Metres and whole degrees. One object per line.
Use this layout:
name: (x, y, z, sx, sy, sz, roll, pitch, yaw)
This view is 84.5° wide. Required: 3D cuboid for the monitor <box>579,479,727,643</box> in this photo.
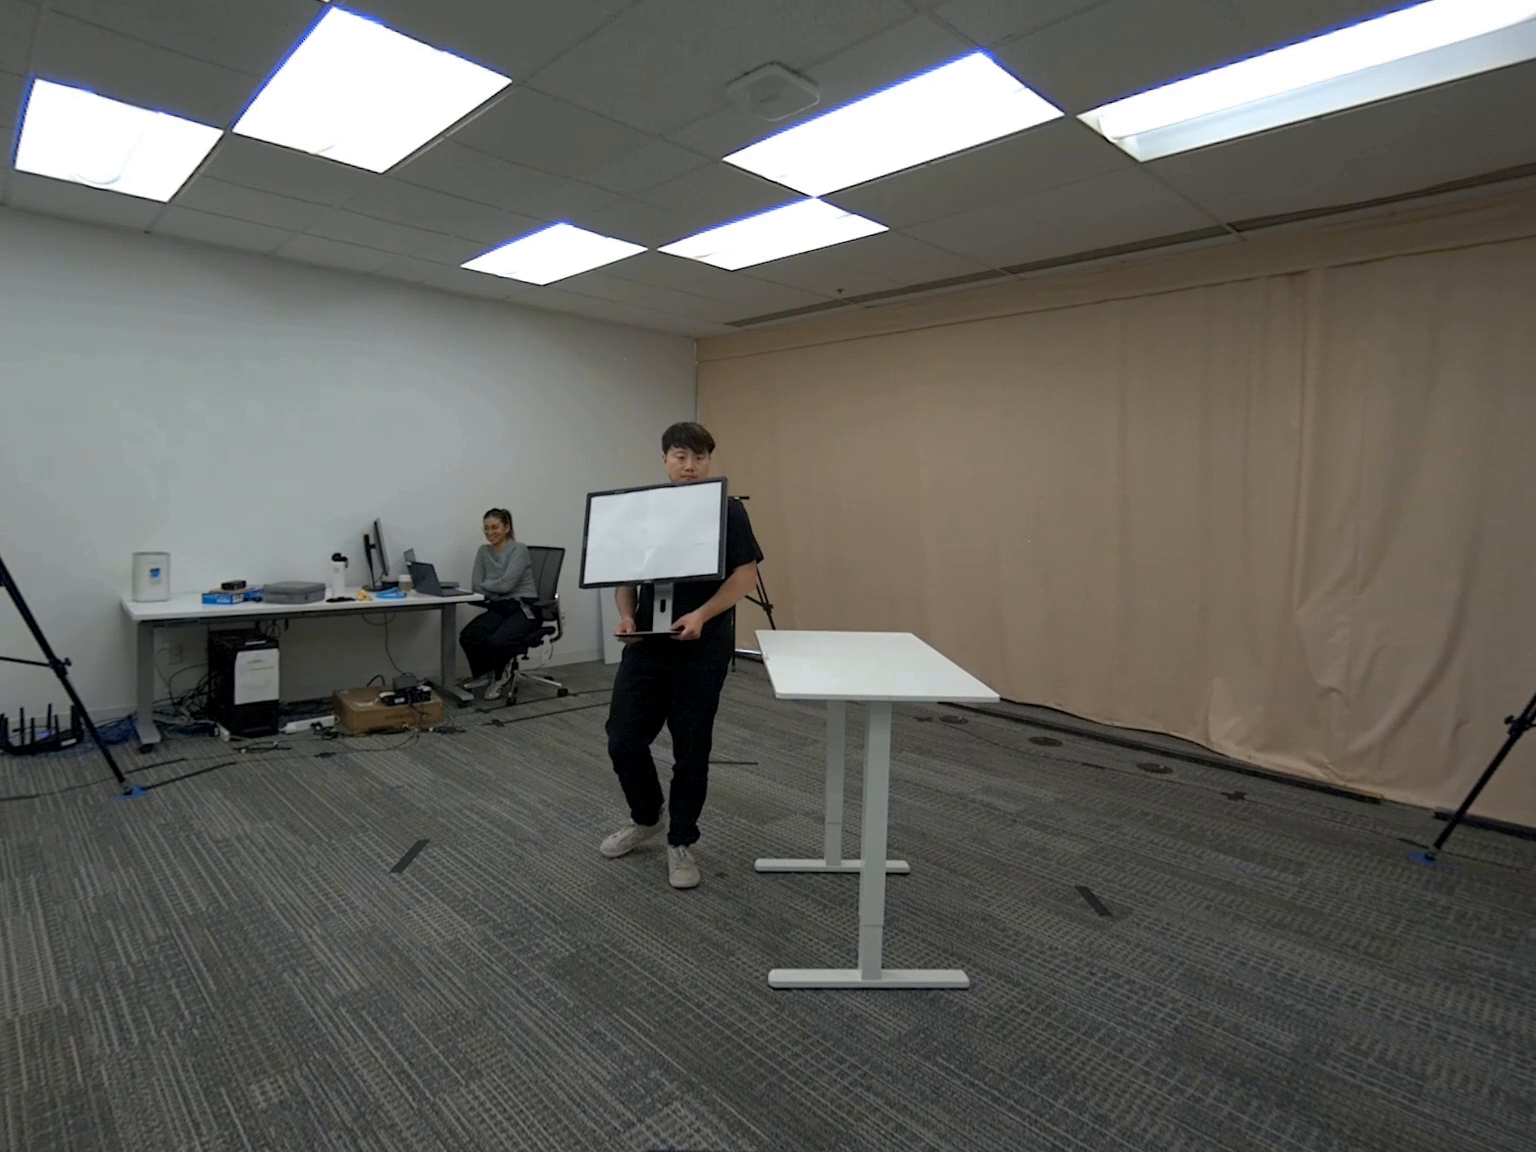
monitor: (-0.402, -0.055, 2.965, 0.547, 0.525, 0.183, -4, -7, 20)
